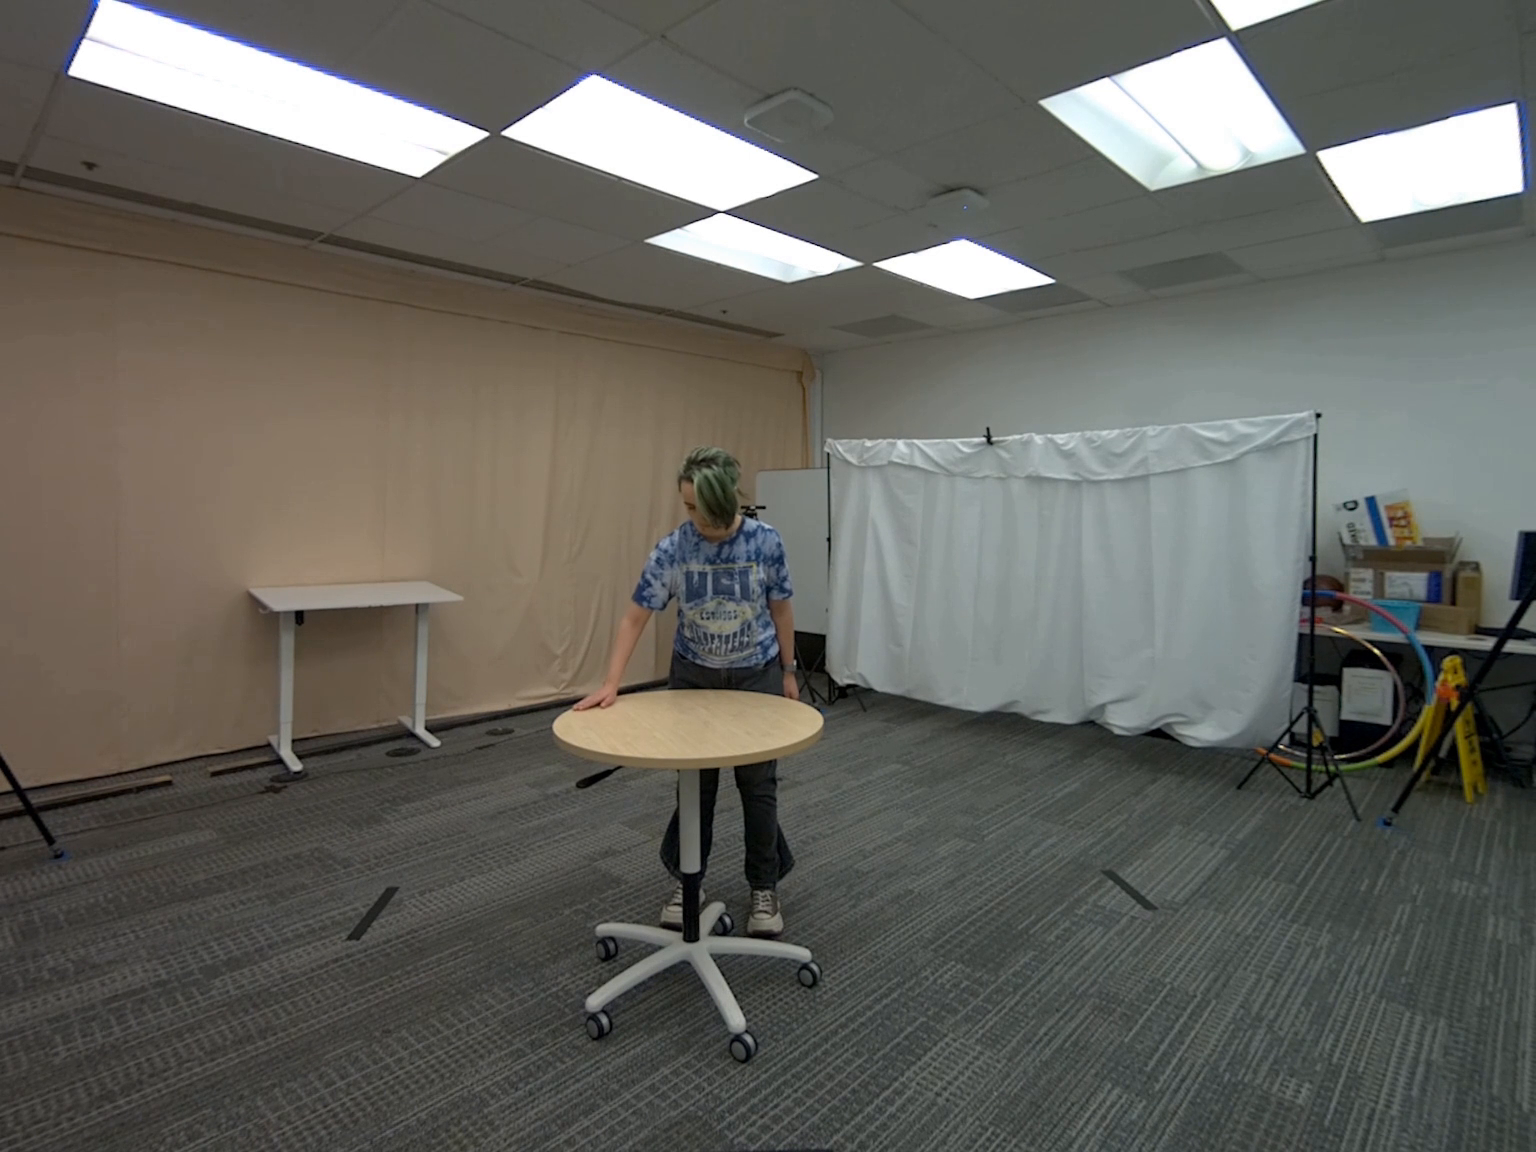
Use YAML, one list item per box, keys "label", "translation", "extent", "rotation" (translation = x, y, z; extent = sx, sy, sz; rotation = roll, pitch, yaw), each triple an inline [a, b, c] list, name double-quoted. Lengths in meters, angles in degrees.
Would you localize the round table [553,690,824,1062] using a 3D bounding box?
- label: "round table"
  translation: [-0.232, 0.795, 2.435]
  extent: [0.784, 0.785, 0.788]
  rotation: [-1, 4, -2]
